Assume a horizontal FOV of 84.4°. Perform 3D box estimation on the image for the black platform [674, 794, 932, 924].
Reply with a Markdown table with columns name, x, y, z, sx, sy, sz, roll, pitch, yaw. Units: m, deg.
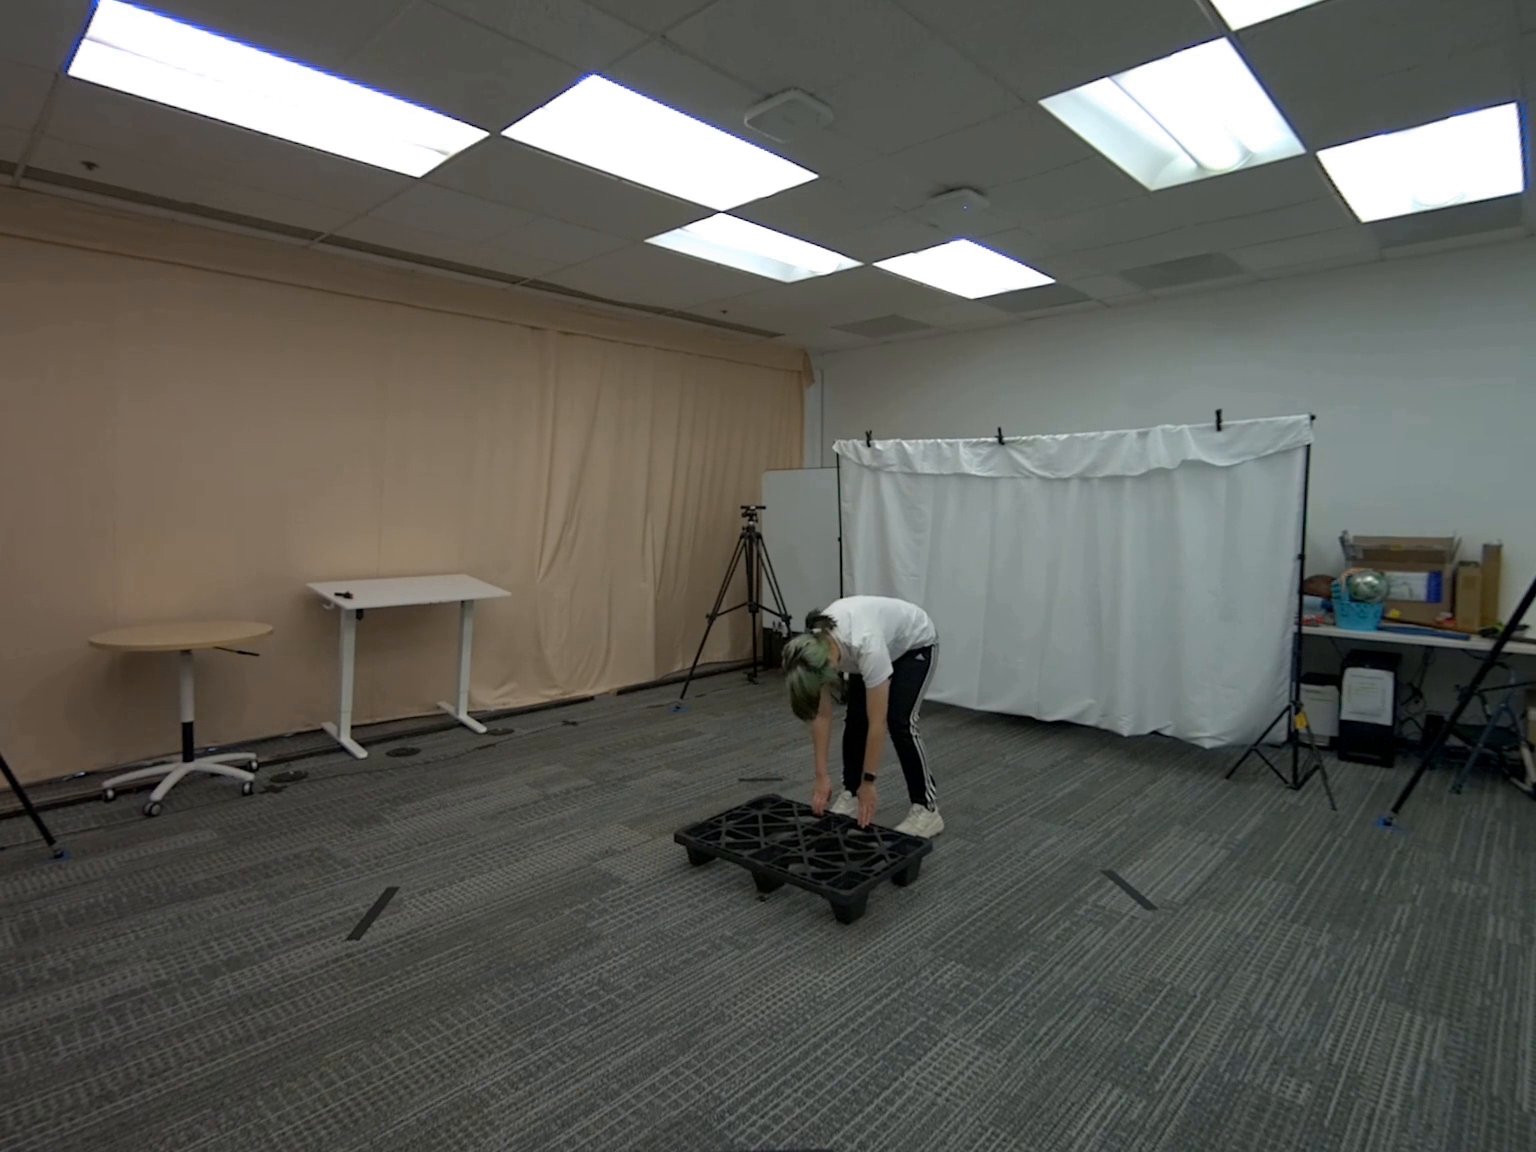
| name | x | y | z | sx | sy | sz | roll | pitch | yaw |
| --- | --- | --- | --- | --- | --- | --- | --- | --- | --- |
| black platform | 0.124 | 1.057 | 3.205 | 0.832 | 0.143 | 0.587 | 4 | 6 | 40 |
